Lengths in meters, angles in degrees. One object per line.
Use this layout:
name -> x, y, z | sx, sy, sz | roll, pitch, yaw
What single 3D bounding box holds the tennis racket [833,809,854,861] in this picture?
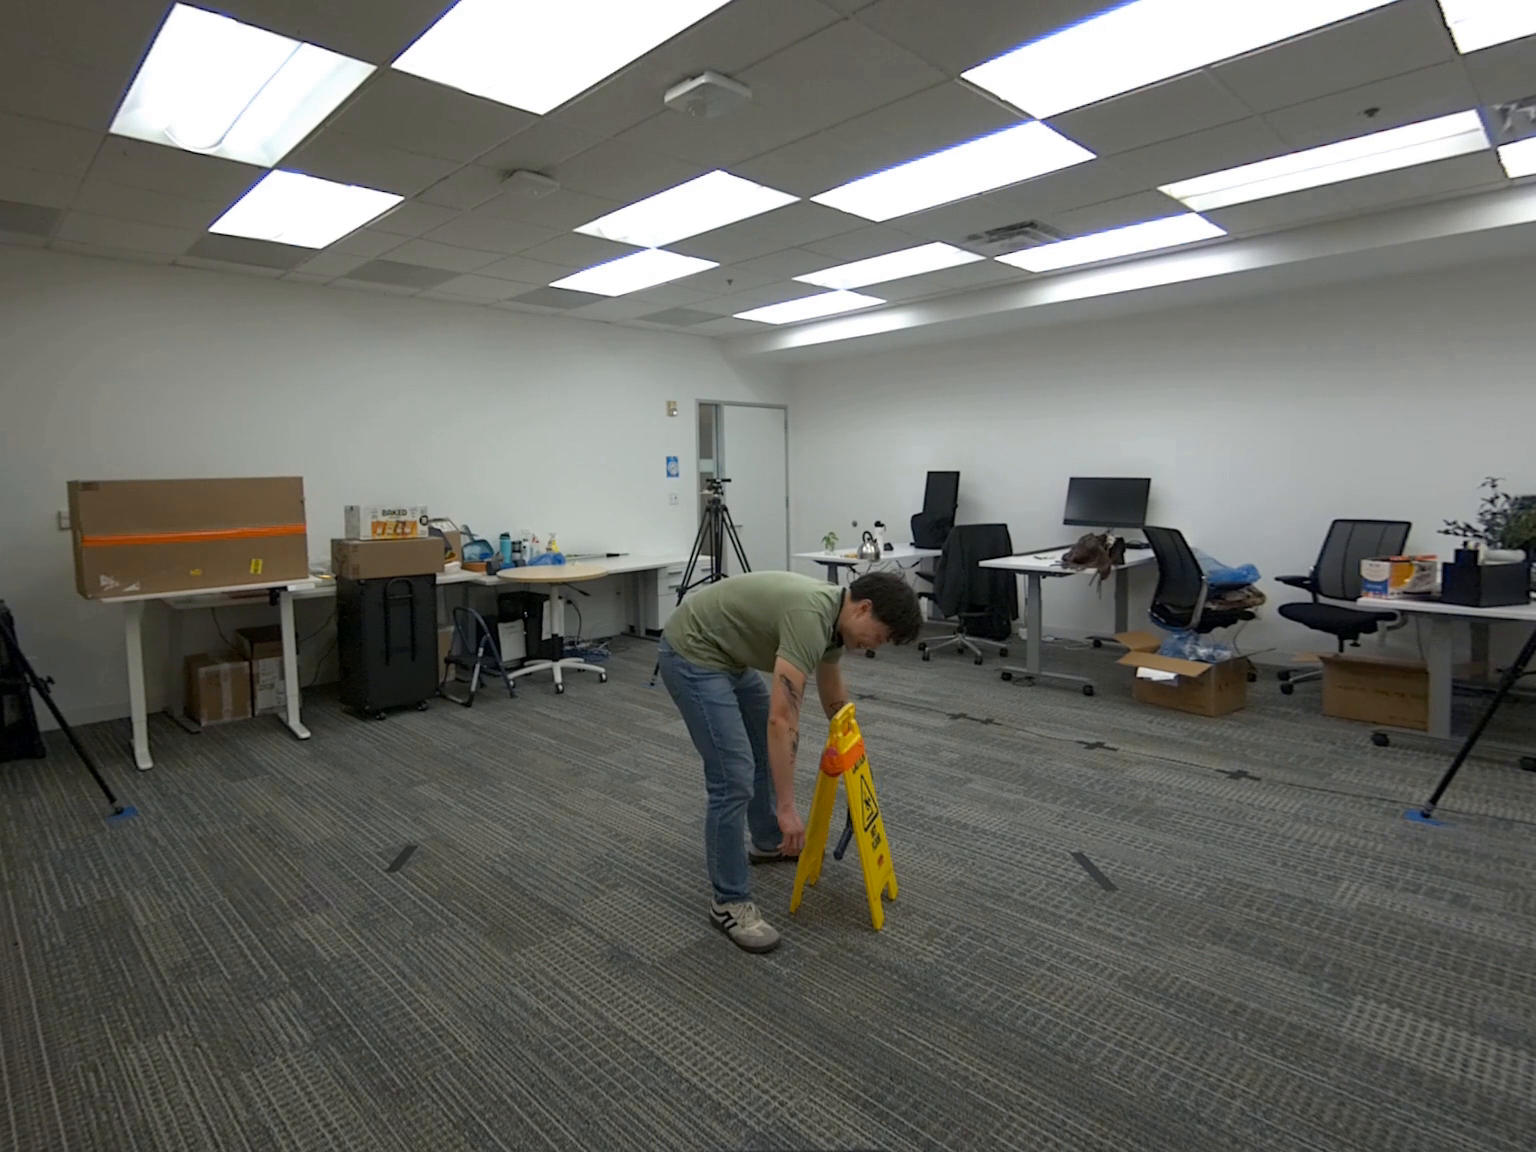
tennis racket -> 0.313, 0.802, 2.891 | 0.032, 0.210, 0.431 | -7, 16, 24
